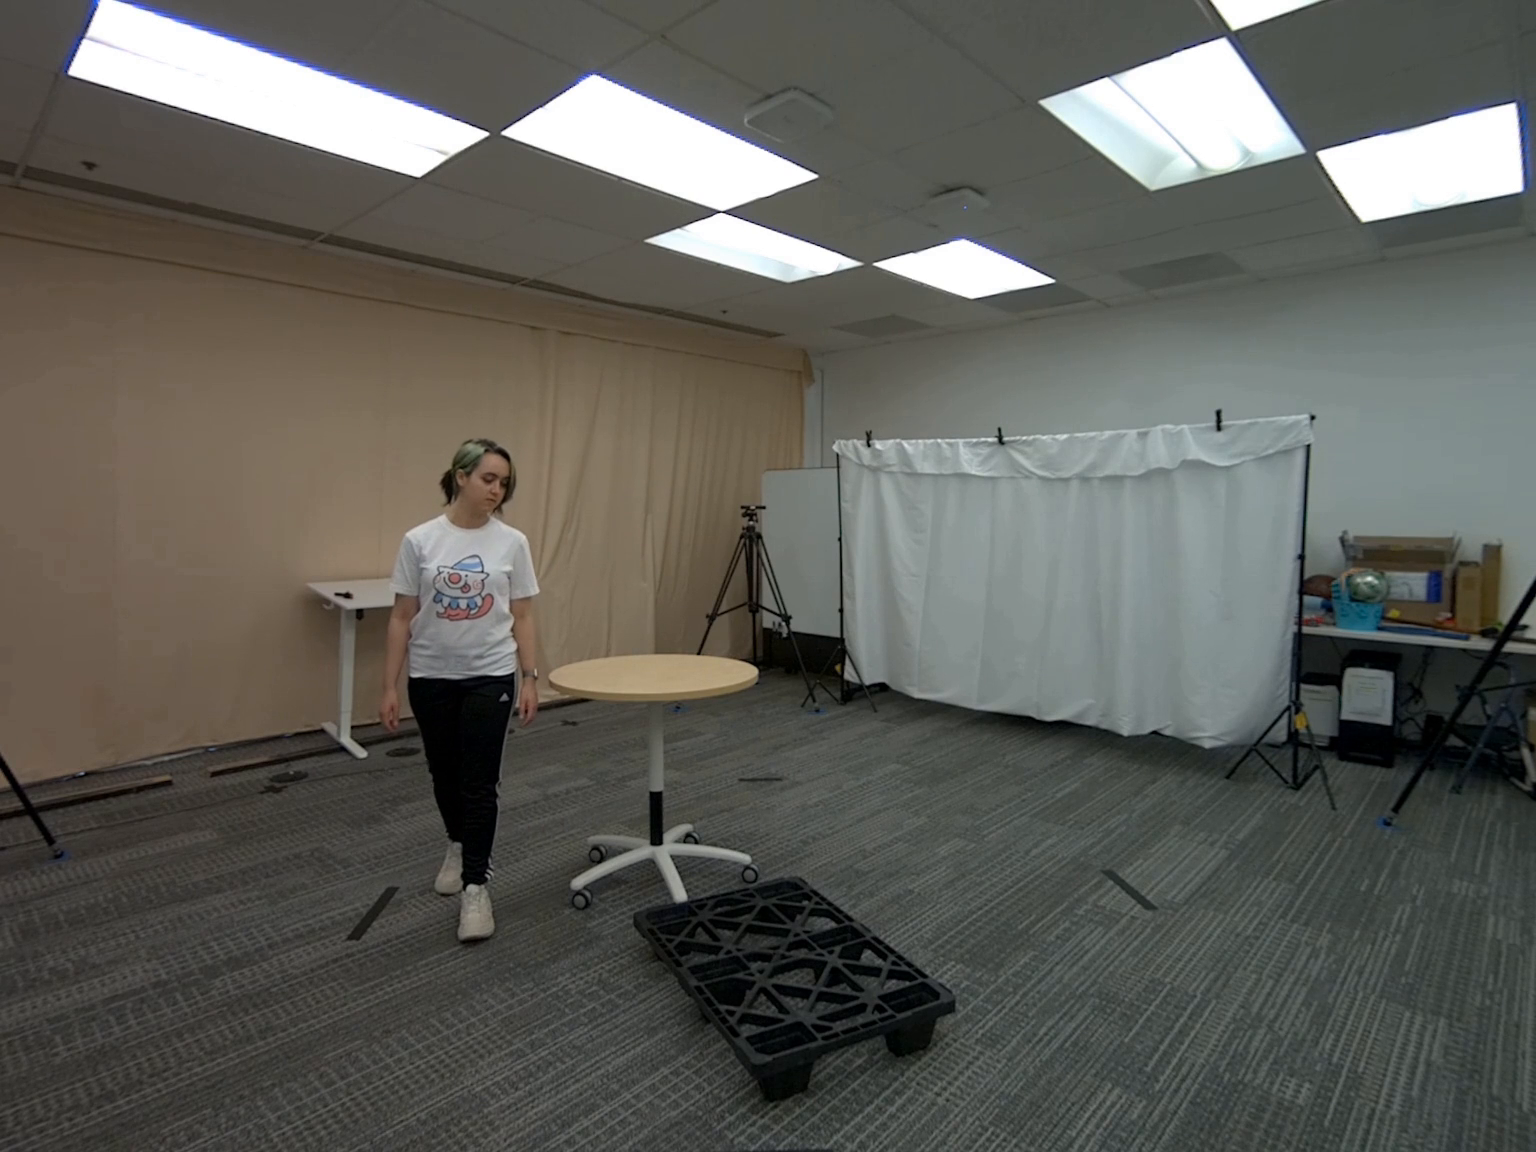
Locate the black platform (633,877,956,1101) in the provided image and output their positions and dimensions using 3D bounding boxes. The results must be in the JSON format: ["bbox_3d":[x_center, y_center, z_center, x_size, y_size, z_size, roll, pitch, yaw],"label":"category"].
[{"bbox_3d":[0.036,1.127,2.379,0.590,0.143,0.828,-3,5,-28],"label":"black platform"}]
